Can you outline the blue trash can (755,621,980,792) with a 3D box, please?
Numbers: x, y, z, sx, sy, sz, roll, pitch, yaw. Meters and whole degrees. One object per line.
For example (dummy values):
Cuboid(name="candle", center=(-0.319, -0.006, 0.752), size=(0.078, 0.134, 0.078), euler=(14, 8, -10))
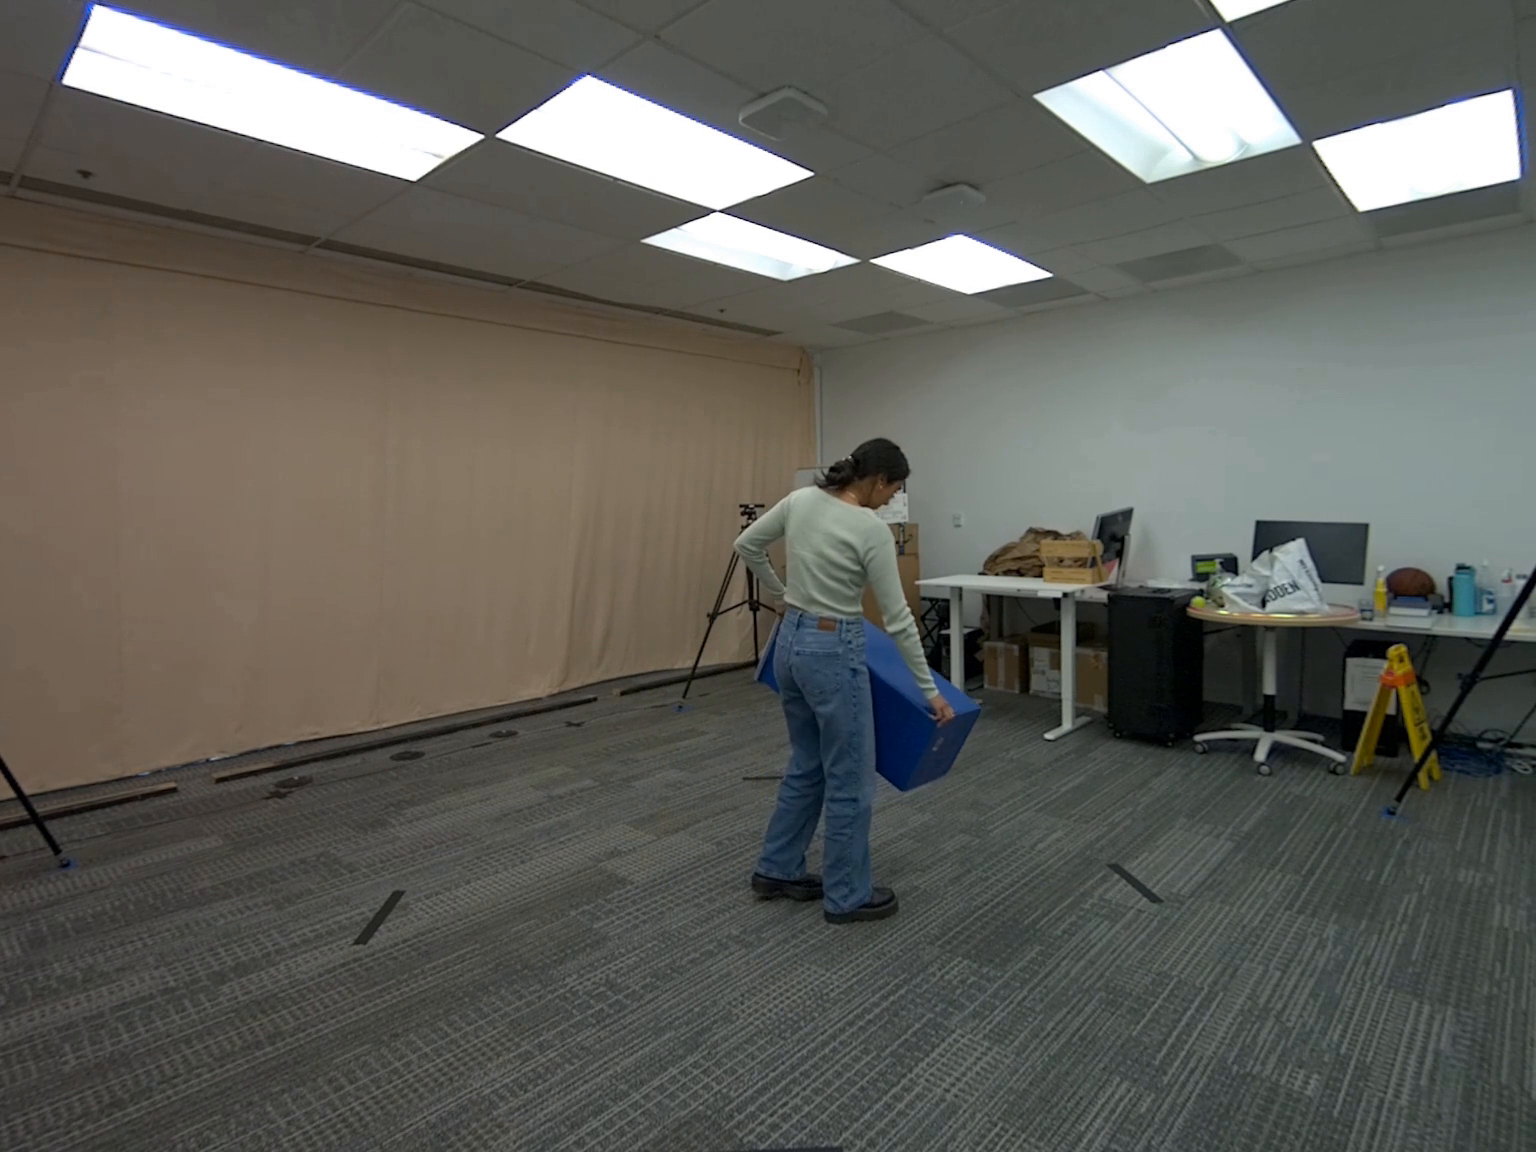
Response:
Cuboid(name="blue trash can", center=(0.365, 0.407, 3.082), size=(0.362, 0.376, 0.739), euler=(-3, 31, -48))
